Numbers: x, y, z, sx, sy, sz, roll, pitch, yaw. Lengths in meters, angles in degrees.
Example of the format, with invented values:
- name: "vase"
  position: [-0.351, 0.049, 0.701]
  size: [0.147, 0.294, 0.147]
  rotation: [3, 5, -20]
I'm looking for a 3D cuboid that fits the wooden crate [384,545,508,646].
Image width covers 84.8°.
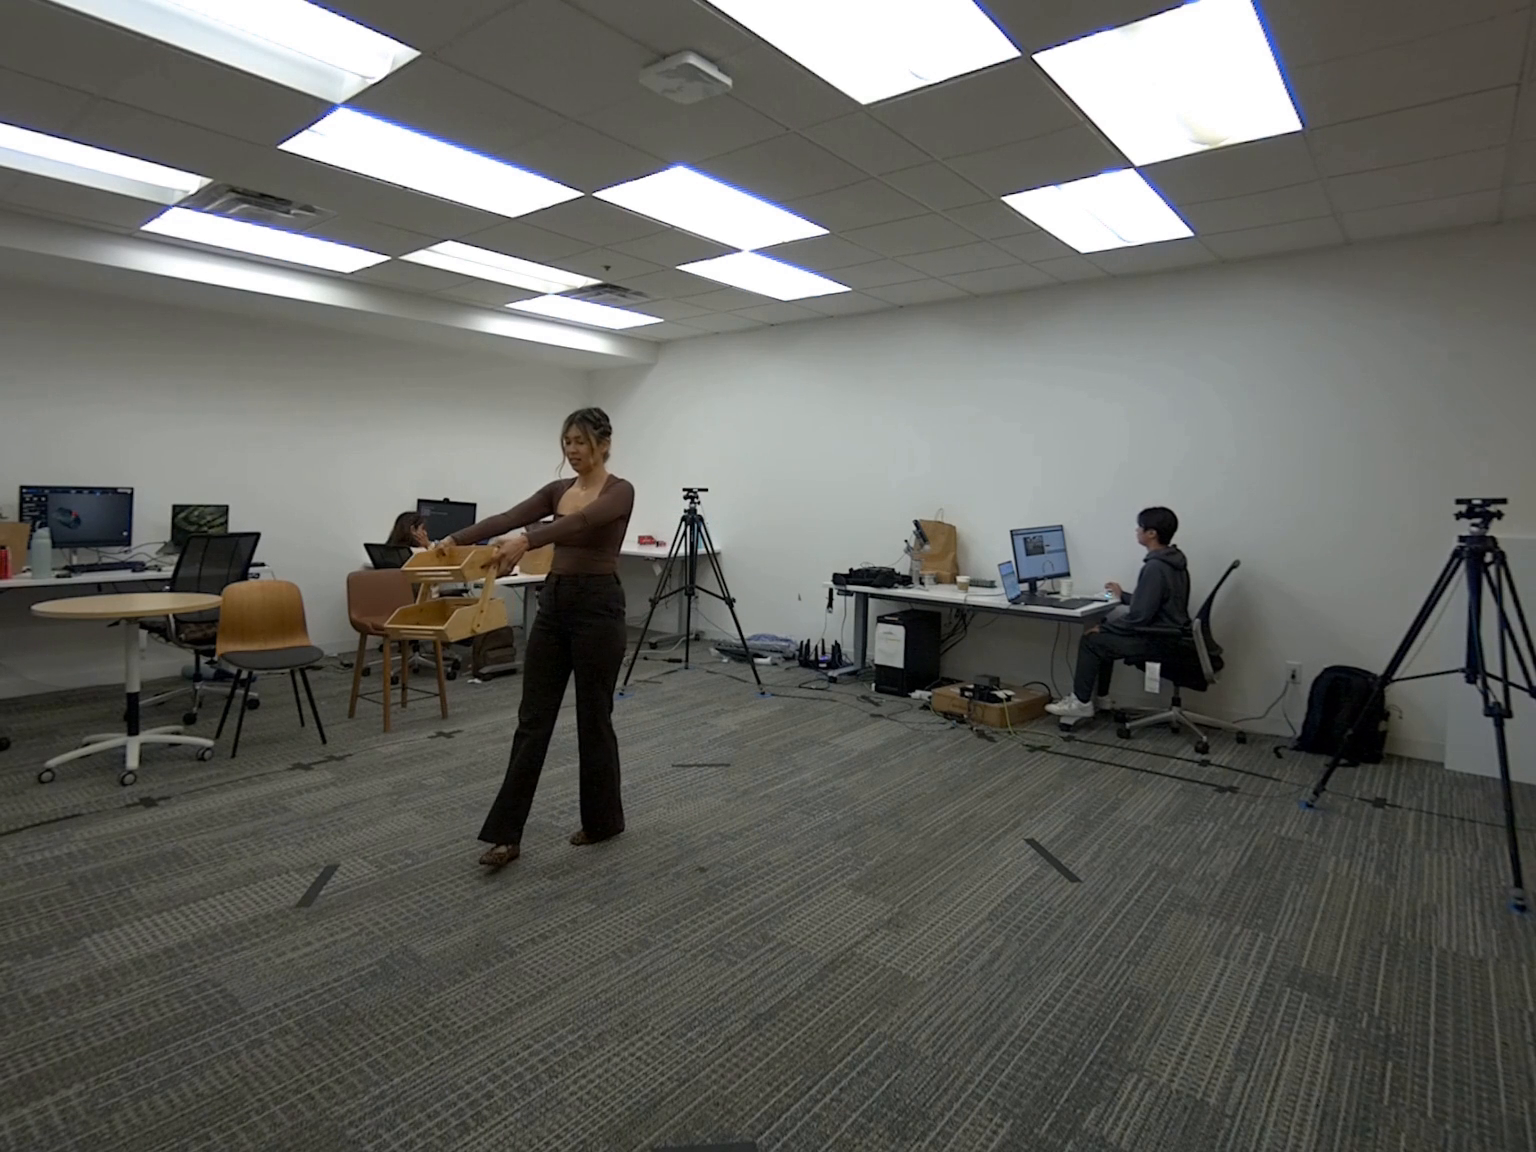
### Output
- name: "wooden crate"
  position: [-1.058, 0.046, 2.763]
  size: [0.334, 0.272, 0.295]
  rotation: [-1, 7, 33]
